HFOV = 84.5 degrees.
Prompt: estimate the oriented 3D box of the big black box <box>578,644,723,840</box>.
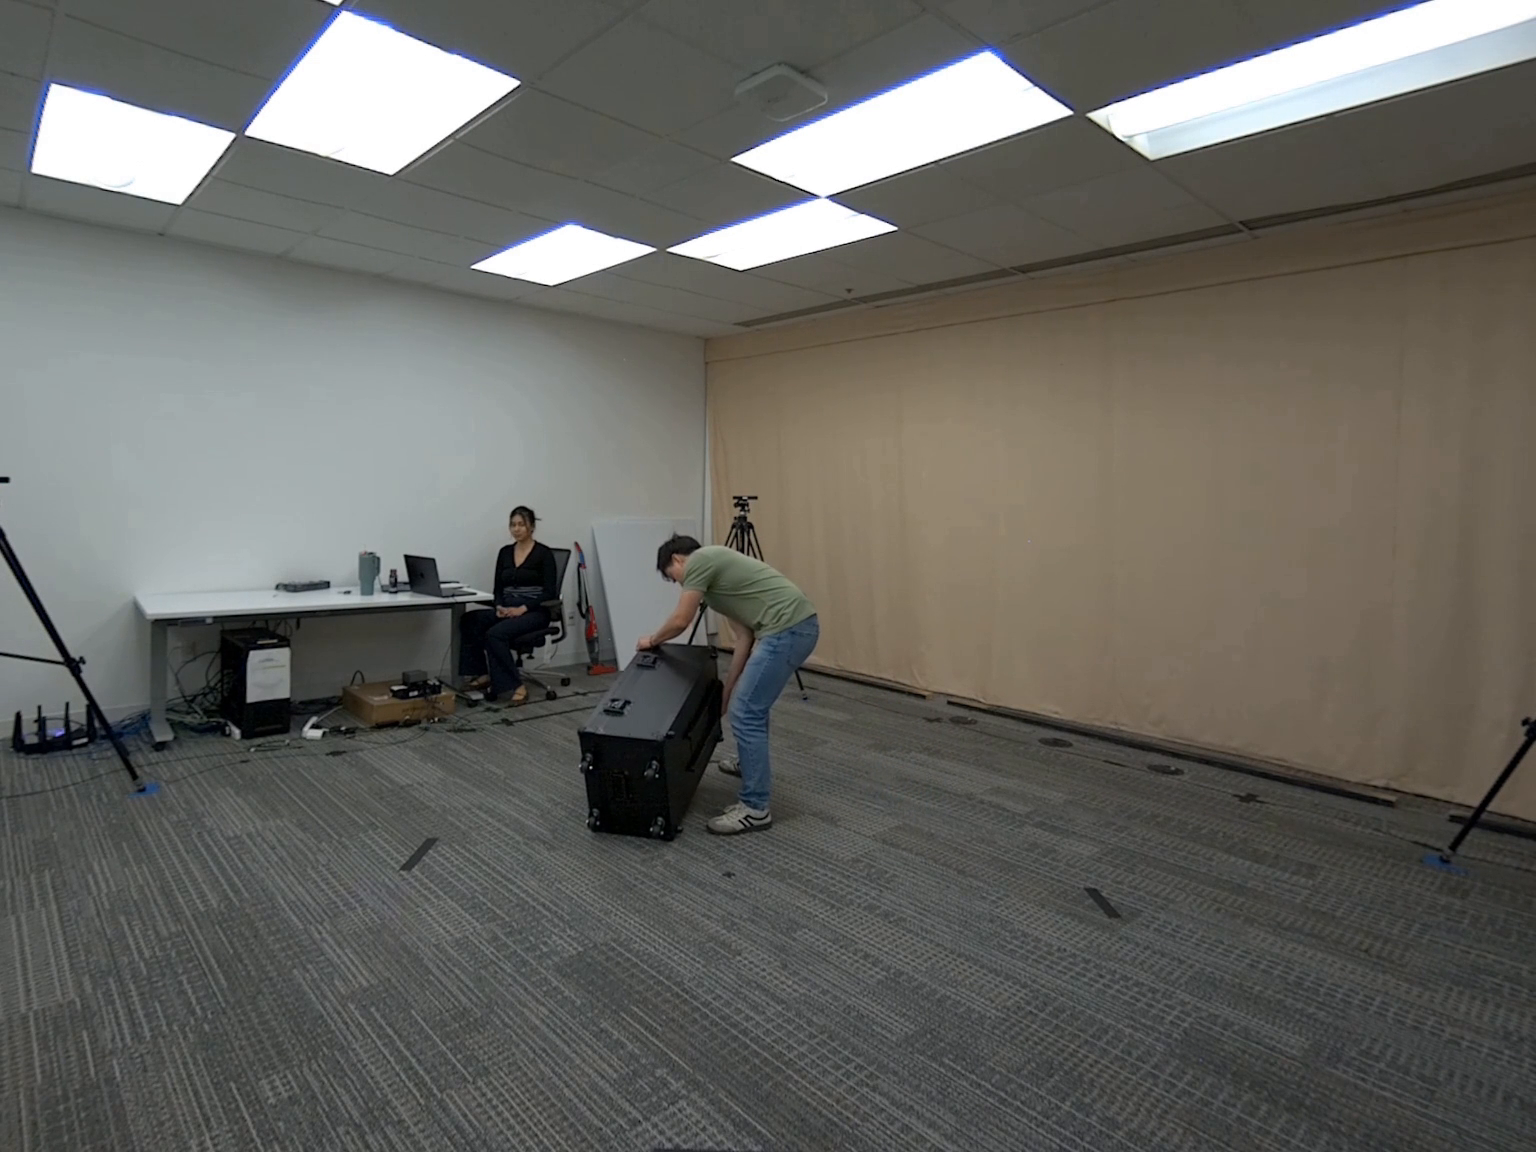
[{"bbox_3d":[-0.482,0.687,3.715,0.400,0.513,0.866,1,22,11],"label":"big black box"}]
